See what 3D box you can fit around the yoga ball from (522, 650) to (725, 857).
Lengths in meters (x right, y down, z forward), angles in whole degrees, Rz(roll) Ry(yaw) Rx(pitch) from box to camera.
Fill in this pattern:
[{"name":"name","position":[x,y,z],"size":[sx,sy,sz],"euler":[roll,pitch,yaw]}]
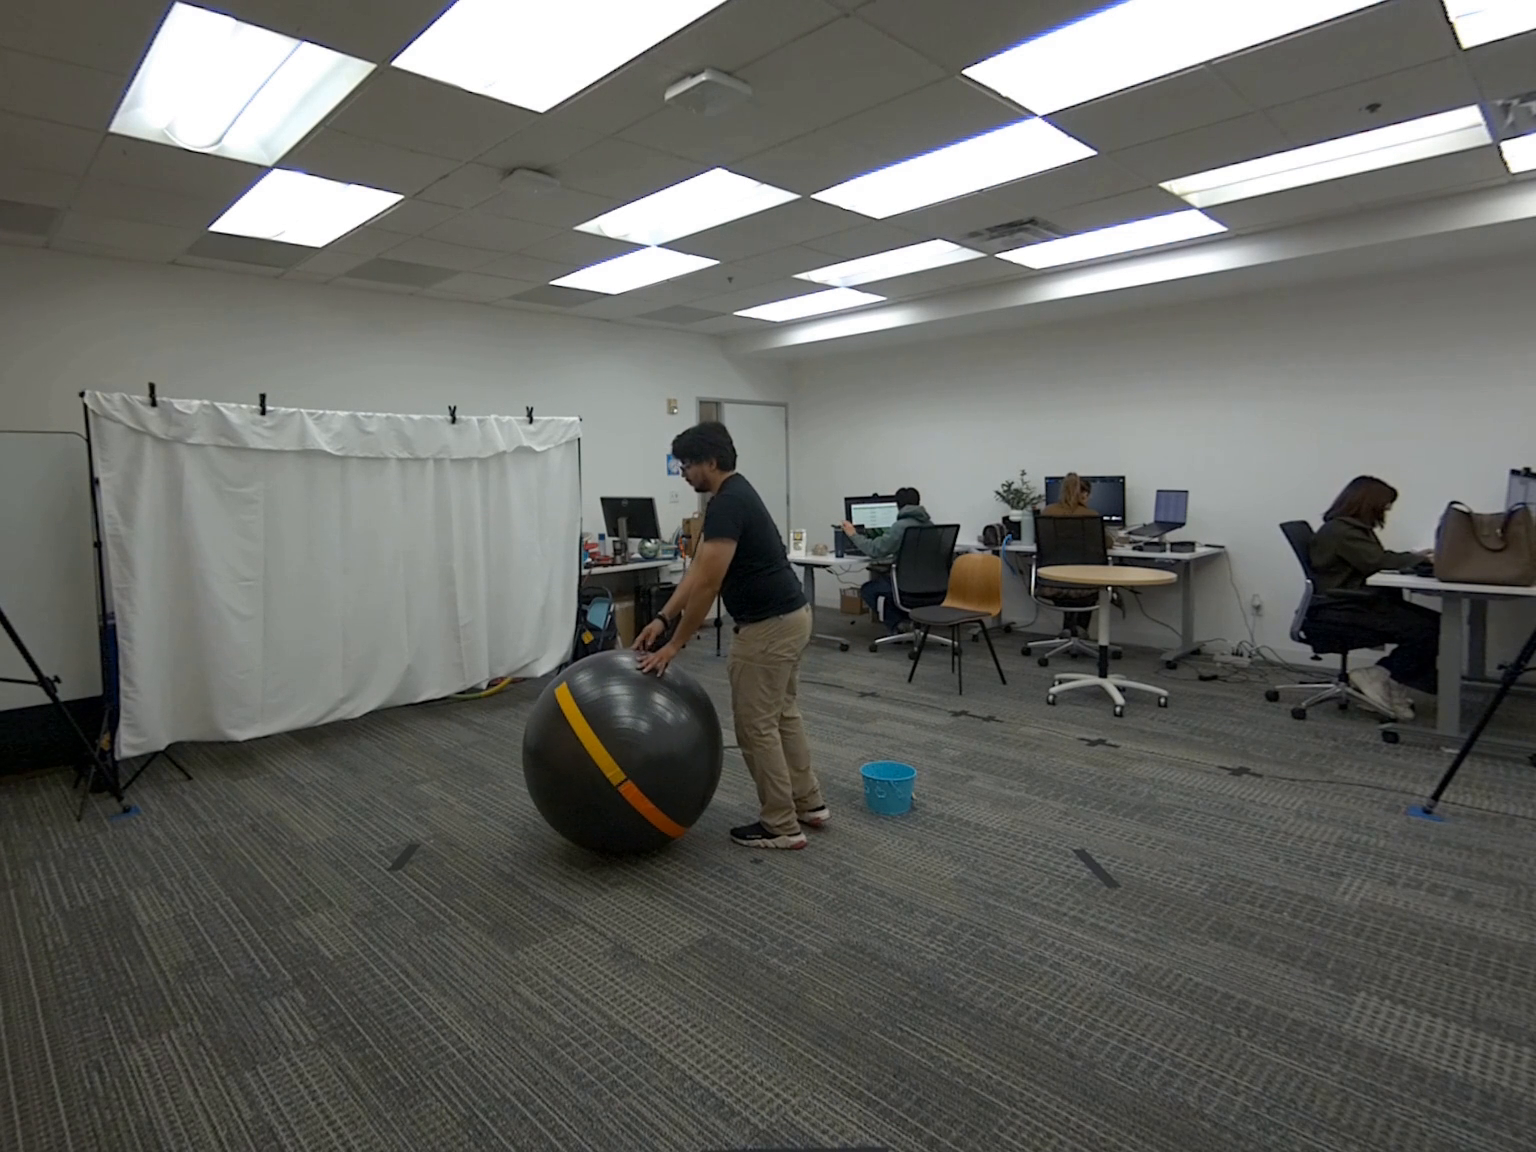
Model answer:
[{"name":"yoga ball","position":[-0.550,0.662,3.256],"size":[0.757,0.755,0.762],"euler":[-1,5,-2]}]
